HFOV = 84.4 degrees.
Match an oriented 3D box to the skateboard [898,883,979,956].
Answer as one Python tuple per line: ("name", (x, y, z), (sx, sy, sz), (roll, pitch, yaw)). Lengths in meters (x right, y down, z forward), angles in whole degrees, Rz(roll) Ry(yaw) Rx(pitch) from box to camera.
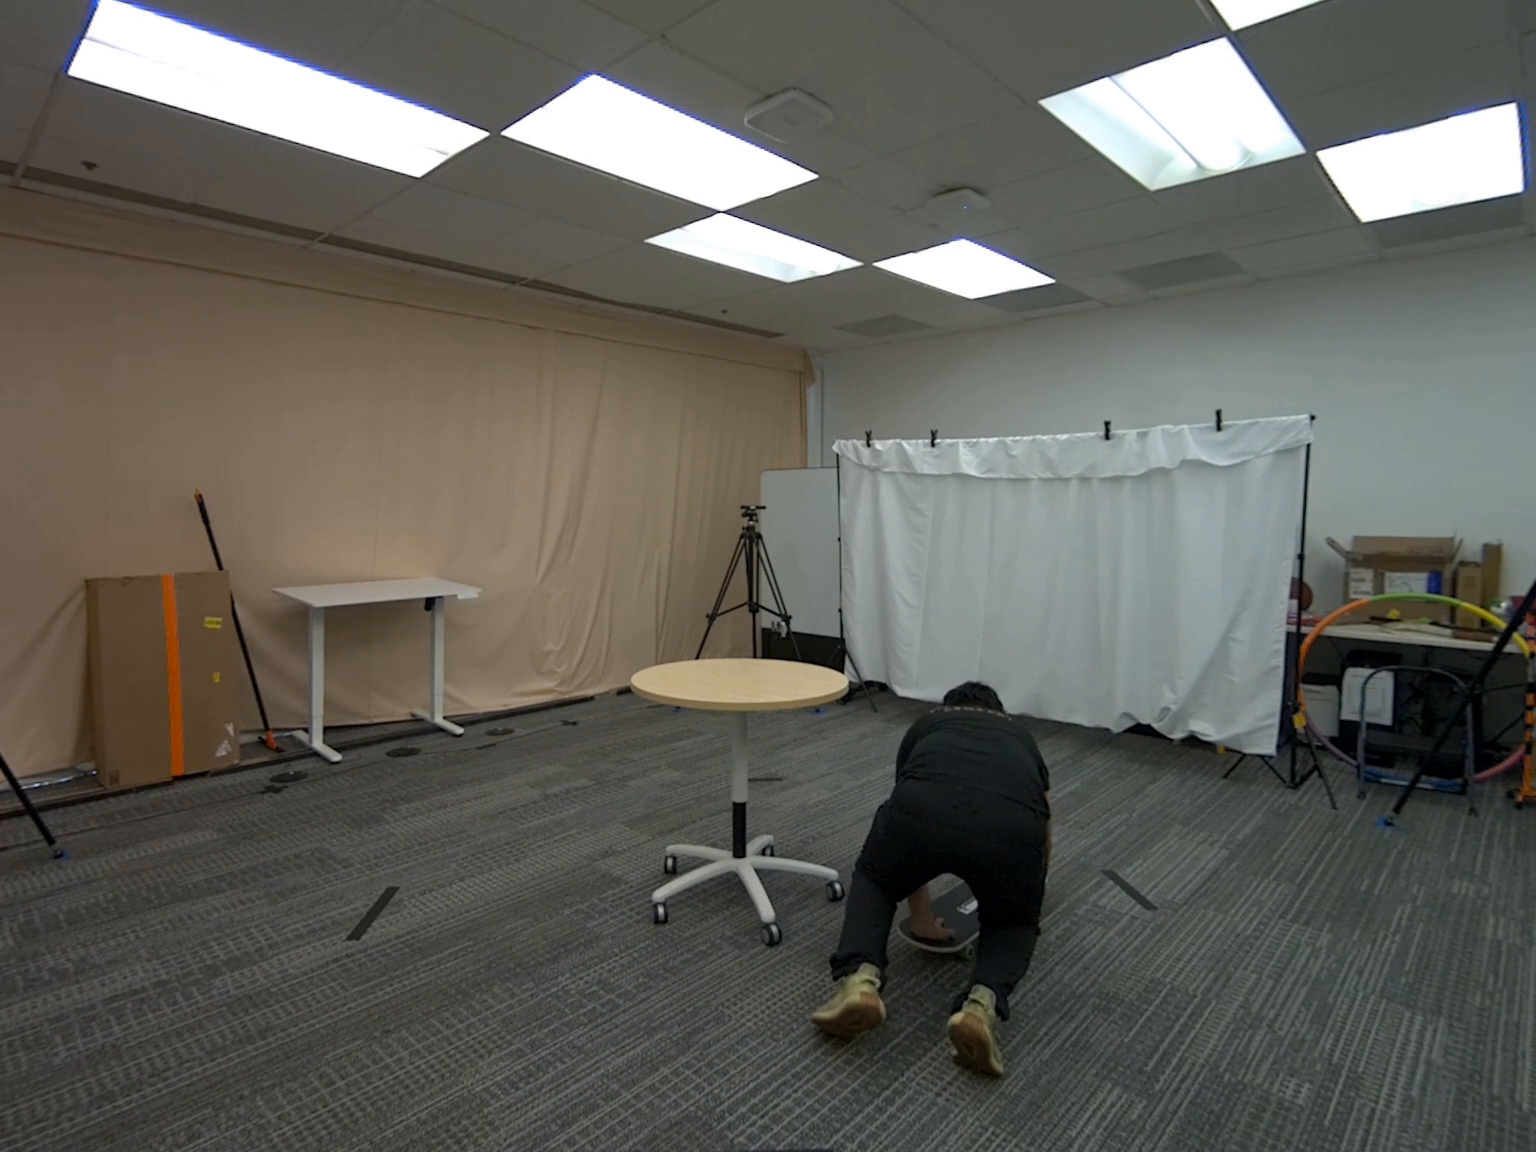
("skateboard", (0.696, 1.107, 2.777), (0.200, 0.110, 0.761), (11, 11, 44))
